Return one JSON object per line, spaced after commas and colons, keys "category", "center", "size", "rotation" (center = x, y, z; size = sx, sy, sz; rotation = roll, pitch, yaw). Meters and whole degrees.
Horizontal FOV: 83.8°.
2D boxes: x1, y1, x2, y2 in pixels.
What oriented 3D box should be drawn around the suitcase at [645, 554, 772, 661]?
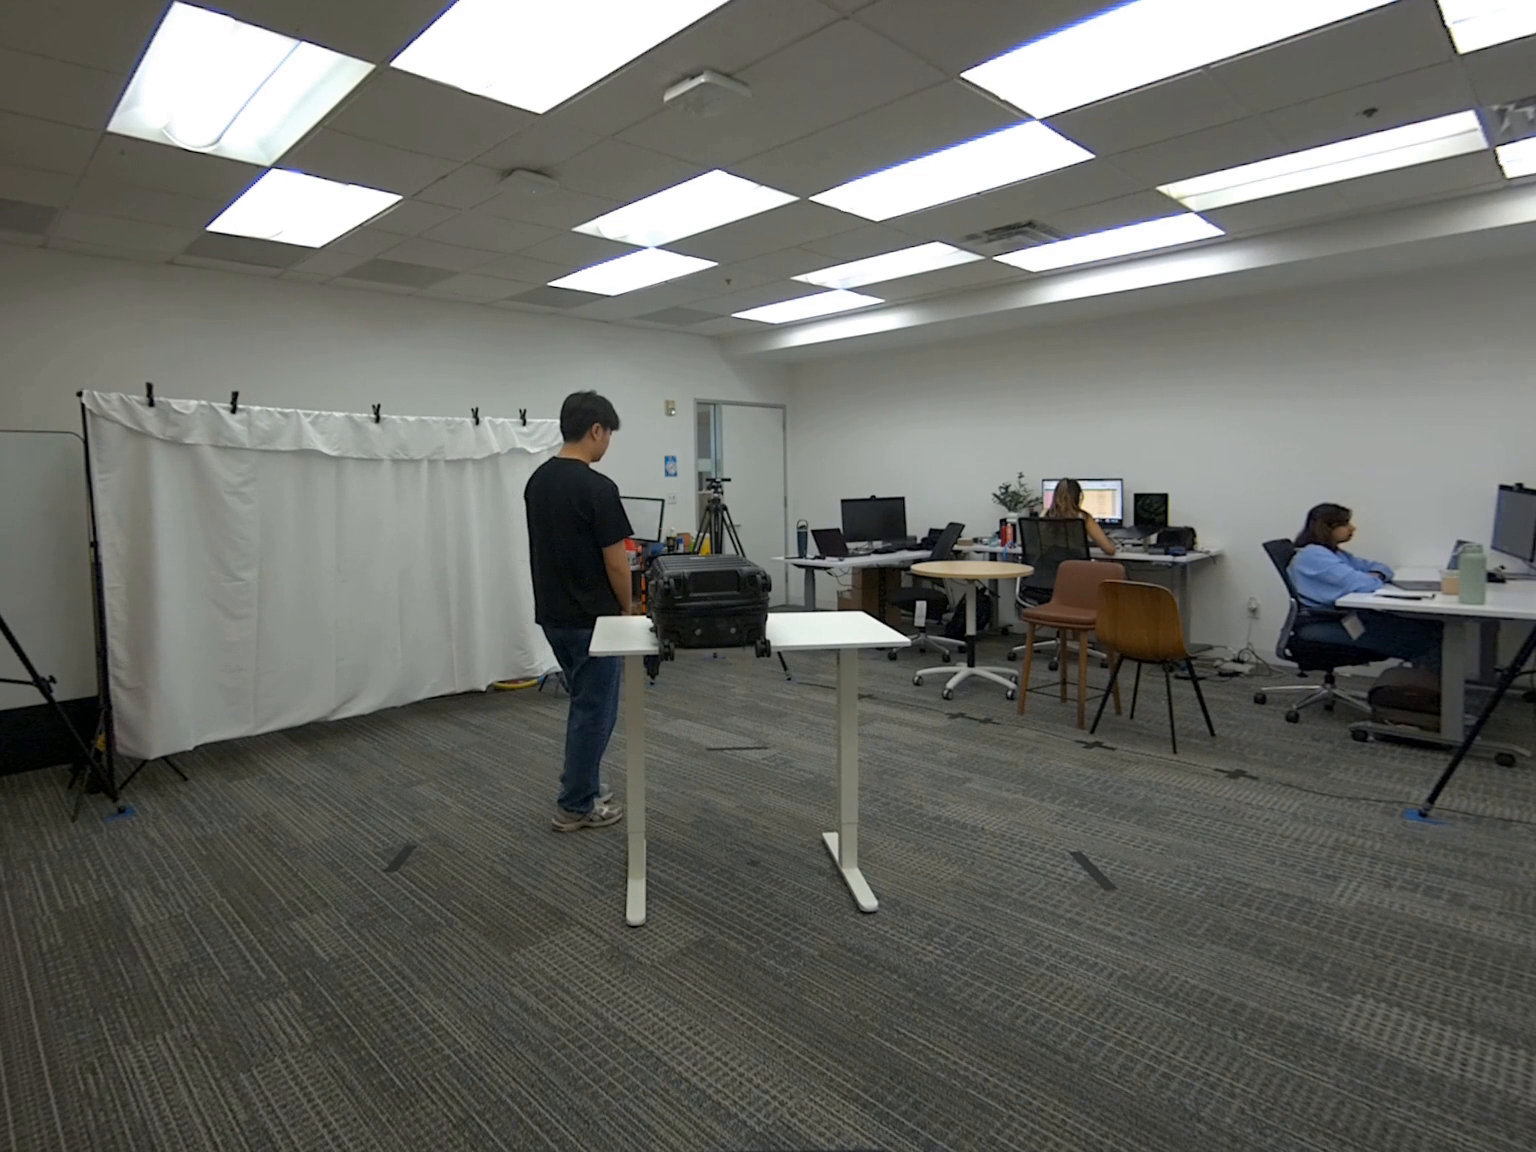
{"category": "suitcase", "center": [-0.243, 0.050, 2.993], "size": [0.380, 0.255, 0.995], "rotation": [-2, 9, -11]}
